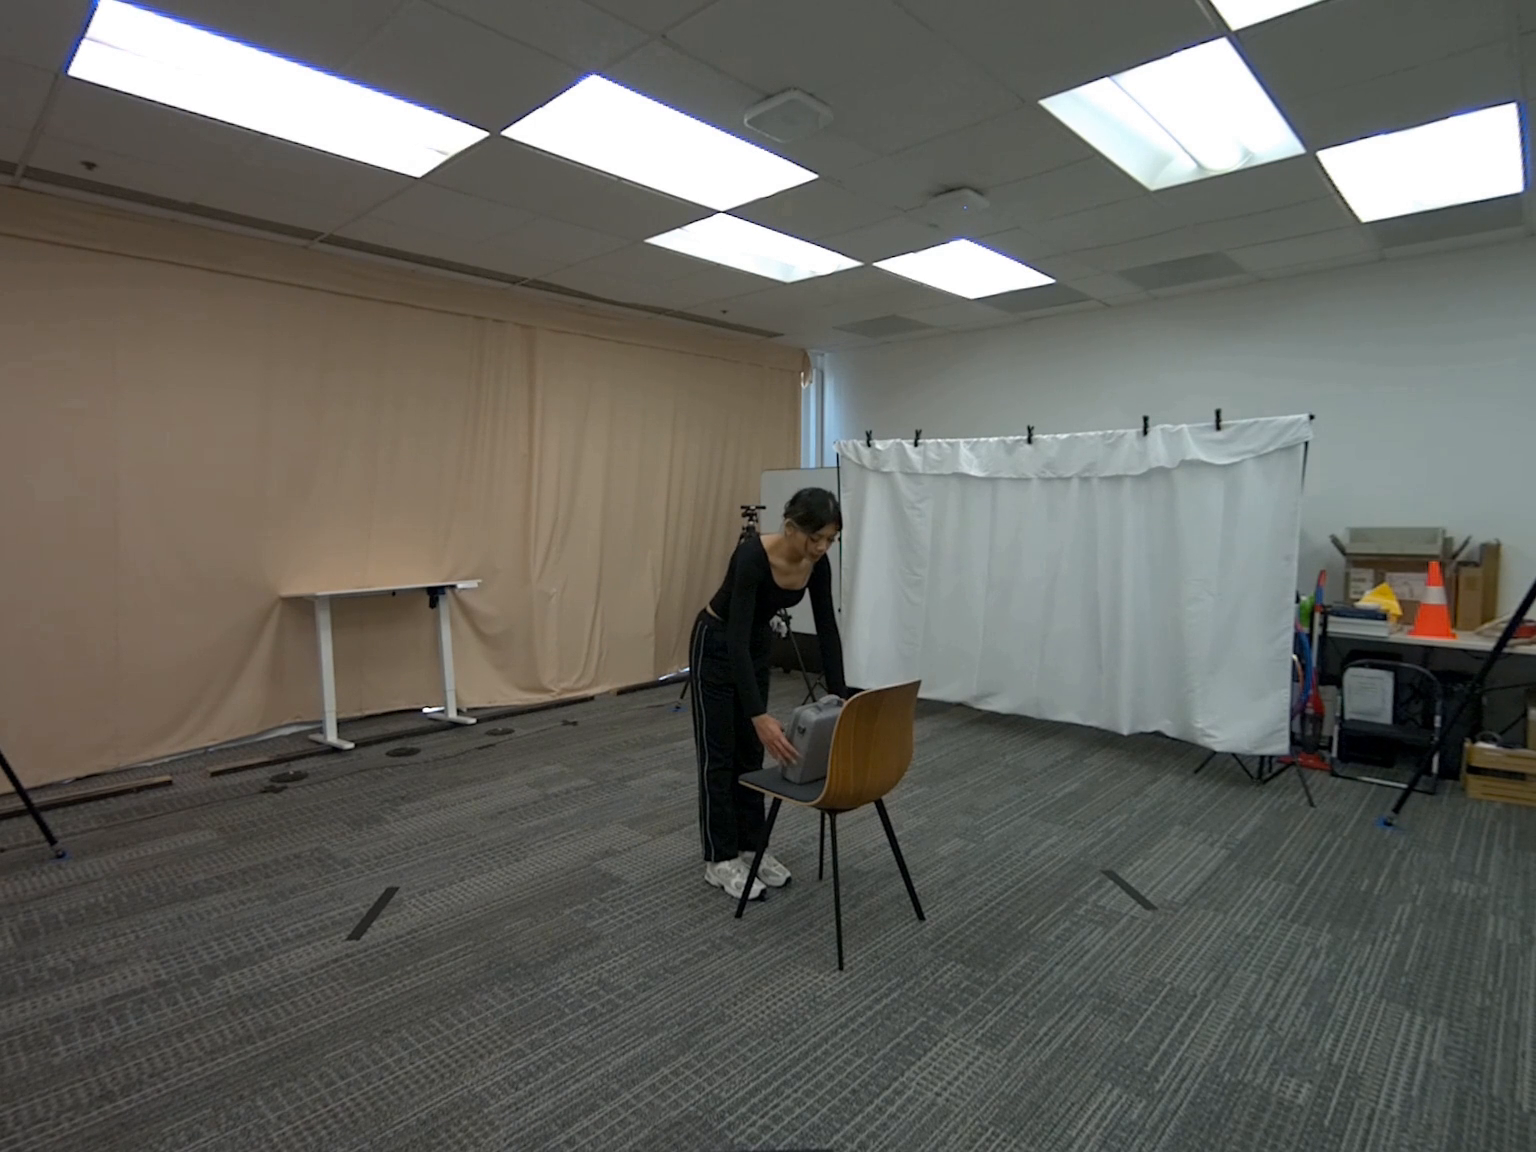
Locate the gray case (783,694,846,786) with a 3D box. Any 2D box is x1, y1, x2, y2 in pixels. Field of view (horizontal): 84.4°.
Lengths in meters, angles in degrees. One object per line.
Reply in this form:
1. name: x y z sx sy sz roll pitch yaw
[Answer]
1. gray case: 0.180 0.546 2.816 0.108 0.259 0.249 20 16 39
